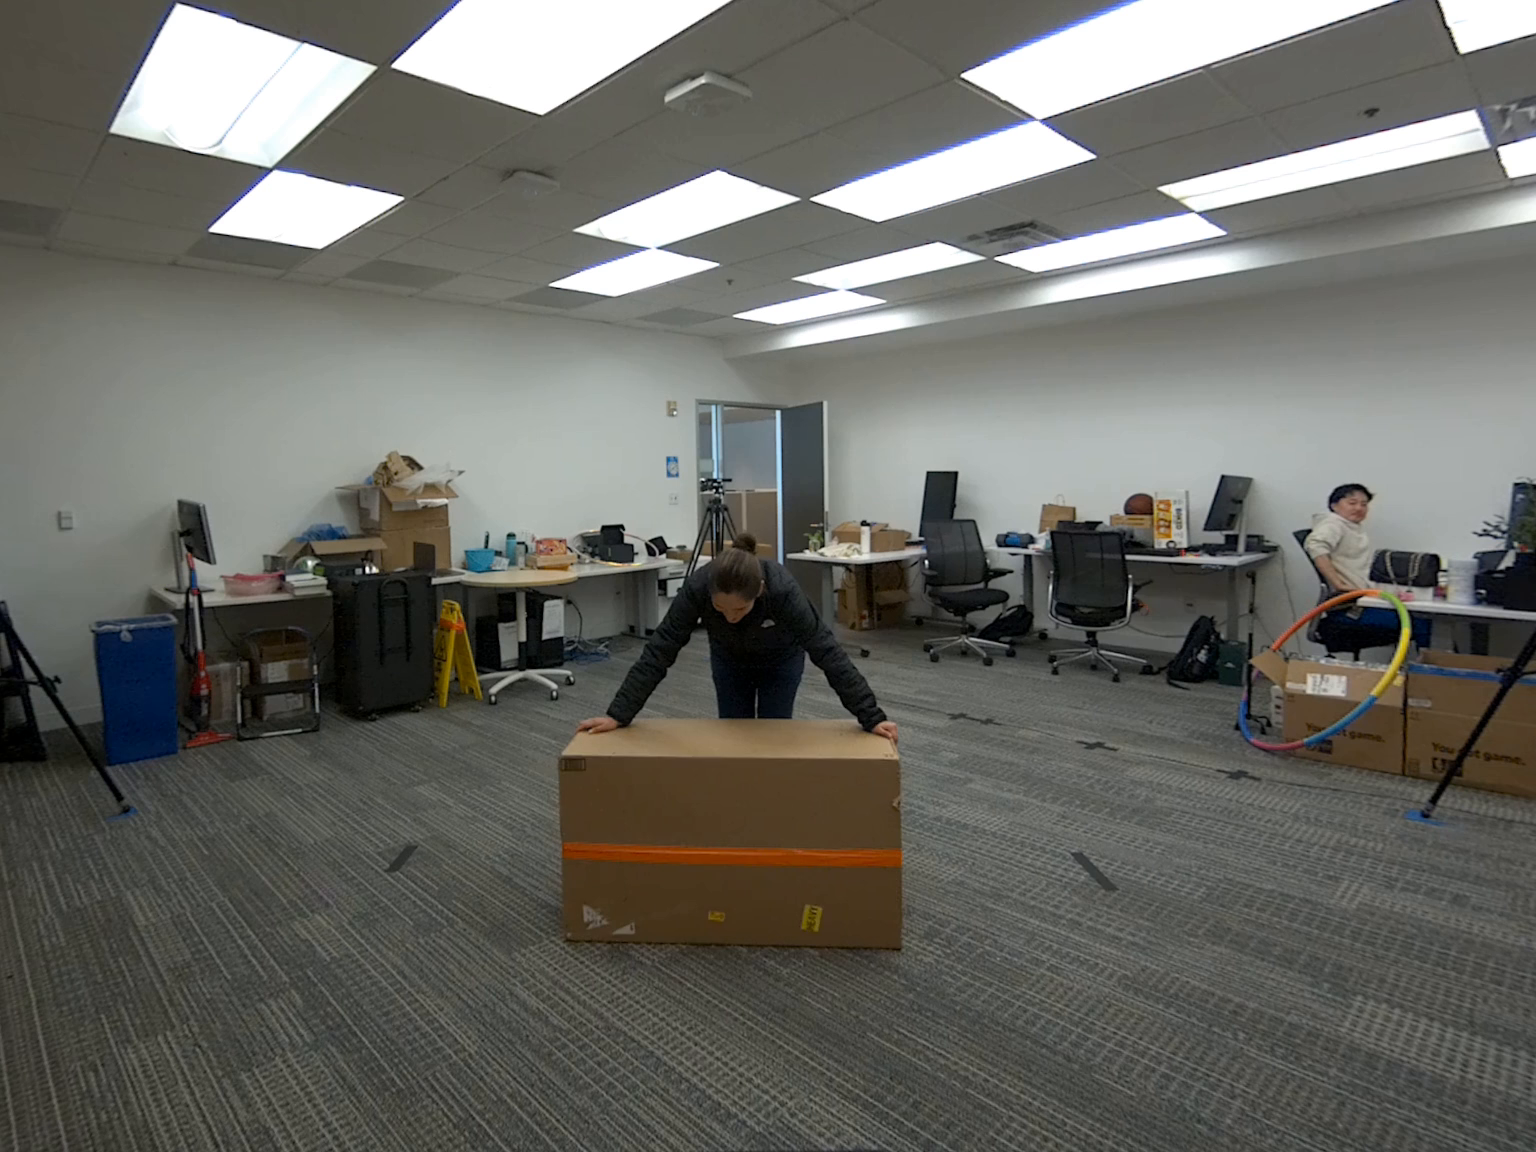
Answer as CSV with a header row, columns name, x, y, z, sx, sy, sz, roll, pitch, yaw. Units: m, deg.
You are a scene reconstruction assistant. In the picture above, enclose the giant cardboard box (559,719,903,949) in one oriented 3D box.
name,x,y,z,sx,sy,sz,roll,pitch,yaw
giant cardboard box,-0.109,0.797,2.751,1.031,0.583,0.446,-1,3,4
